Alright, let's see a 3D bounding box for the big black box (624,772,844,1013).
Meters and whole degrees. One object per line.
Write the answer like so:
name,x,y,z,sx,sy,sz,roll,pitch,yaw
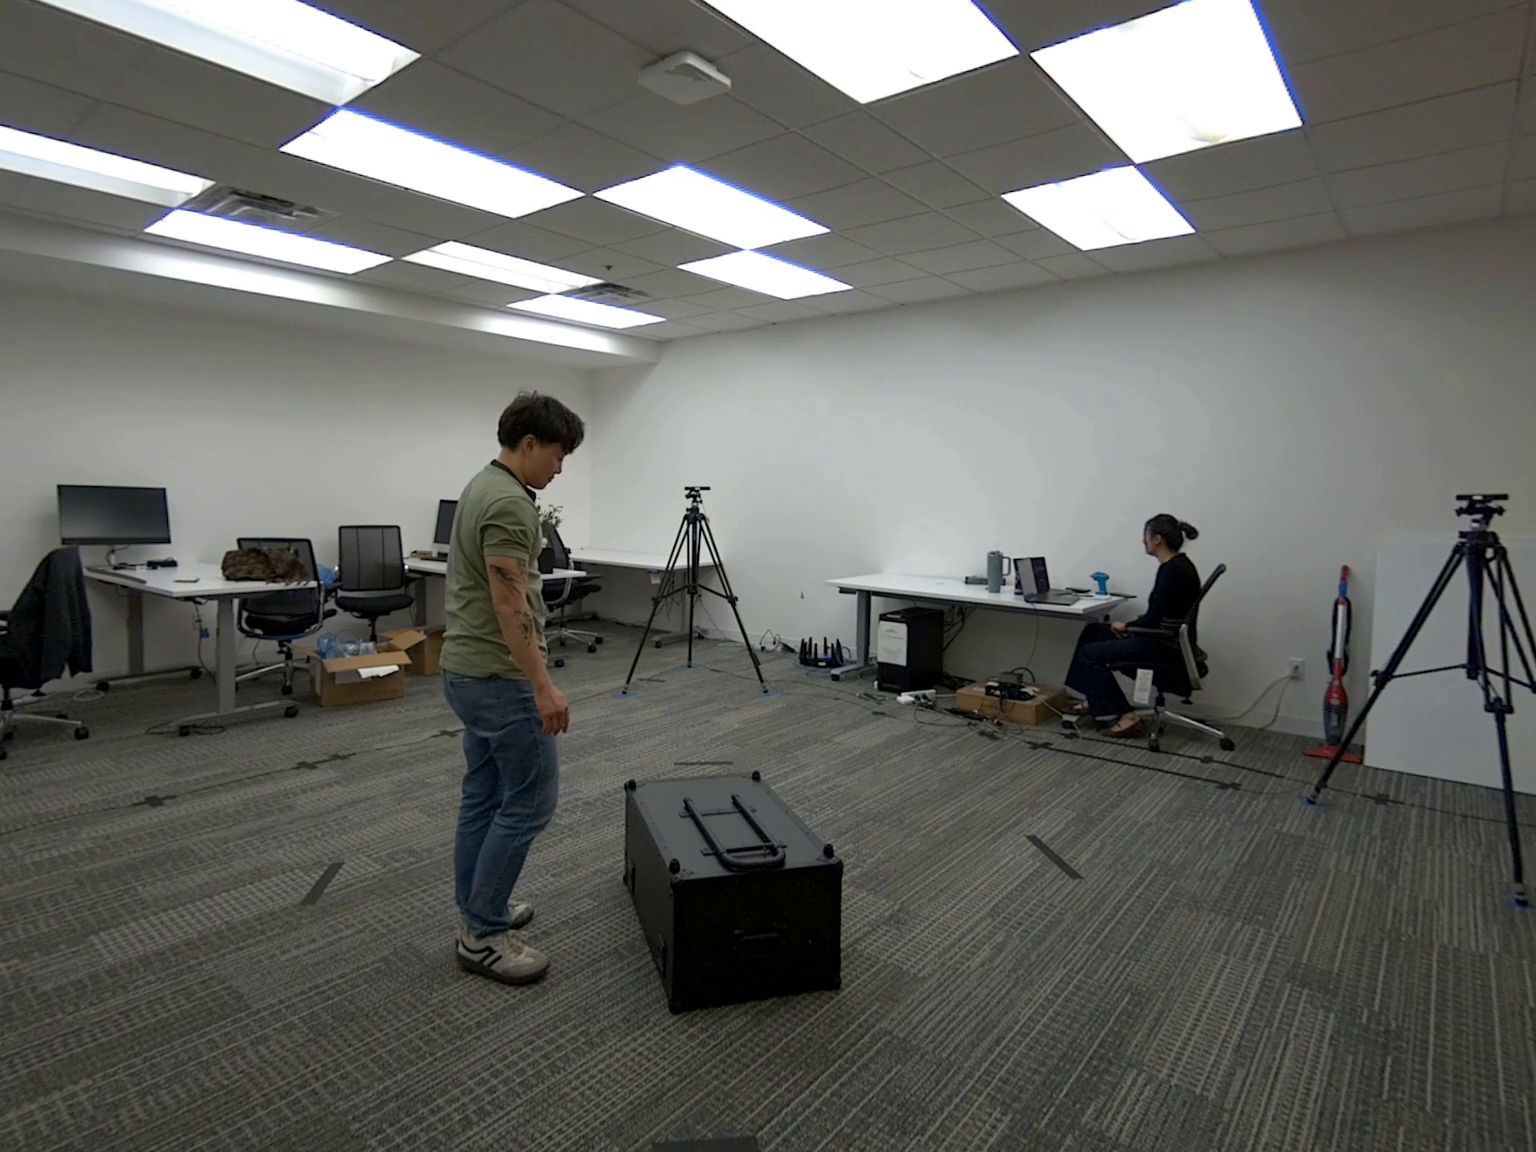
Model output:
big black box,-0.173,0.911,2.698,0.512,0.395,0.879,-1,4,-18
